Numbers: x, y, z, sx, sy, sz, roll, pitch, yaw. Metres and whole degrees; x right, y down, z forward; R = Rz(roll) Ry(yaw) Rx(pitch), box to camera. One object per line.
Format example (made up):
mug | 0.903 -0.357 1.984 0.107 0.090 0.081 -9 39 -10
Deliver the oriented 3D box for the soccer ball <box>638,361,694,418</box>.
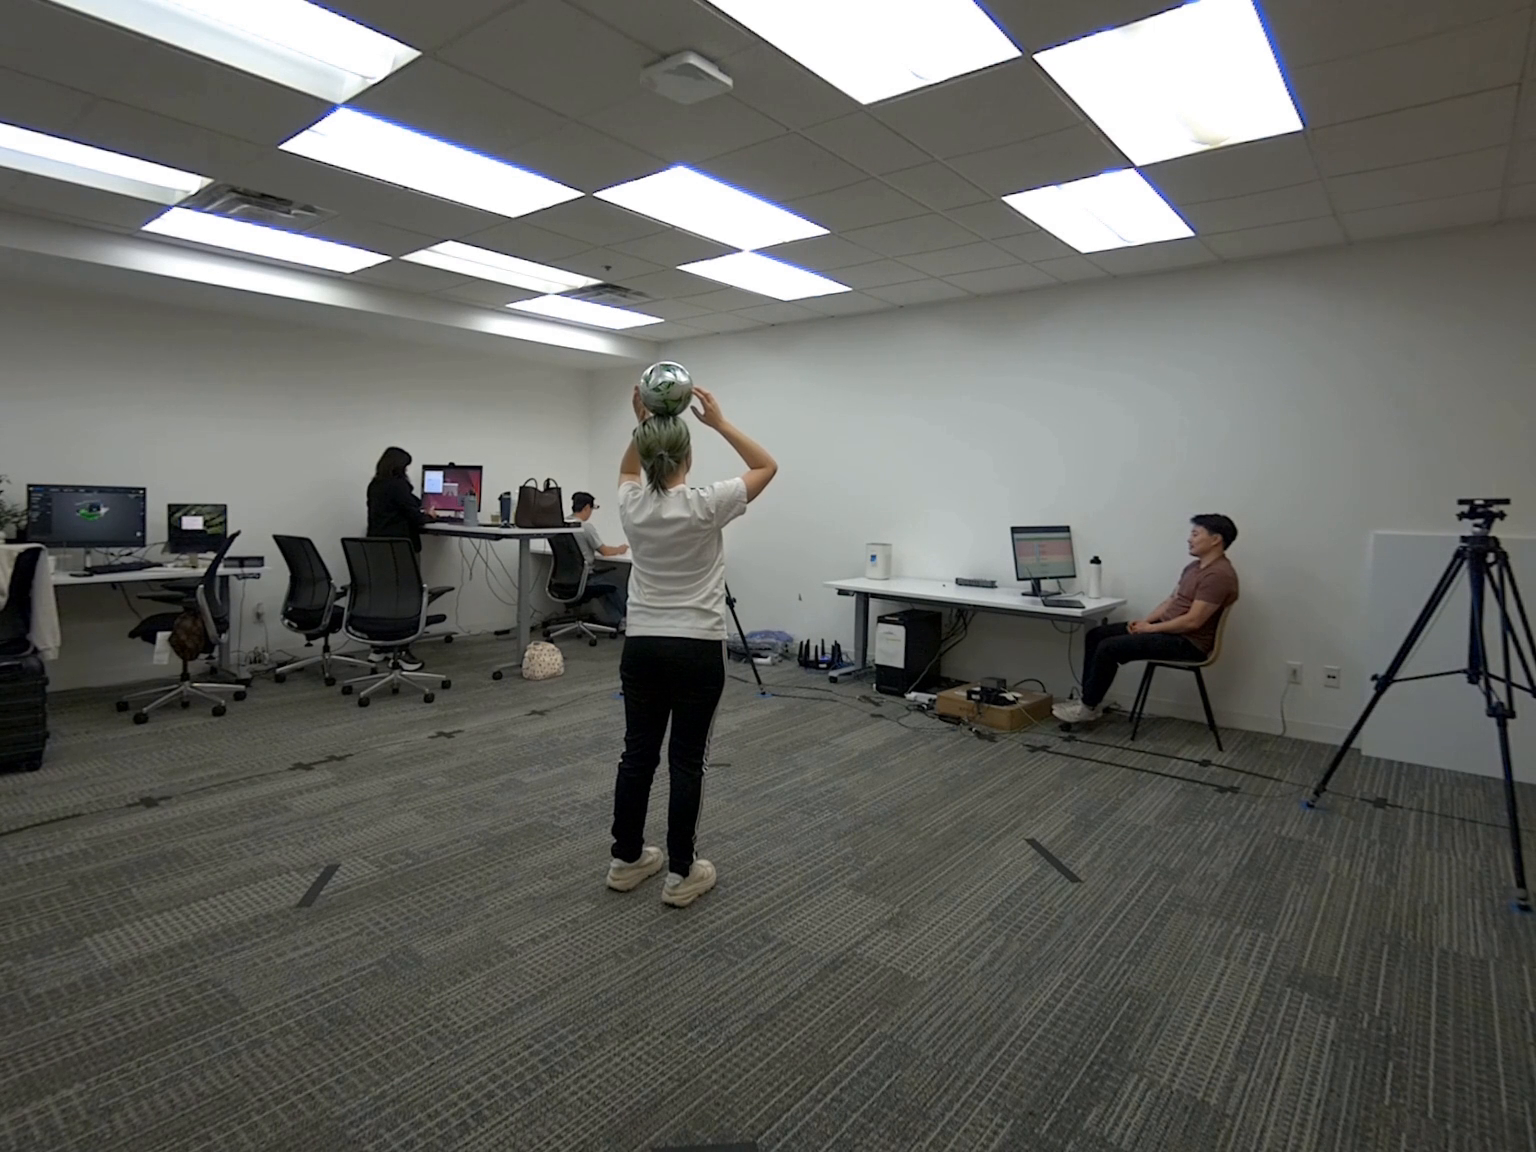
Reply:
soccer ball | -0.357 -0.640 2.900 0.187 0.187 0.188 1 4 -2
